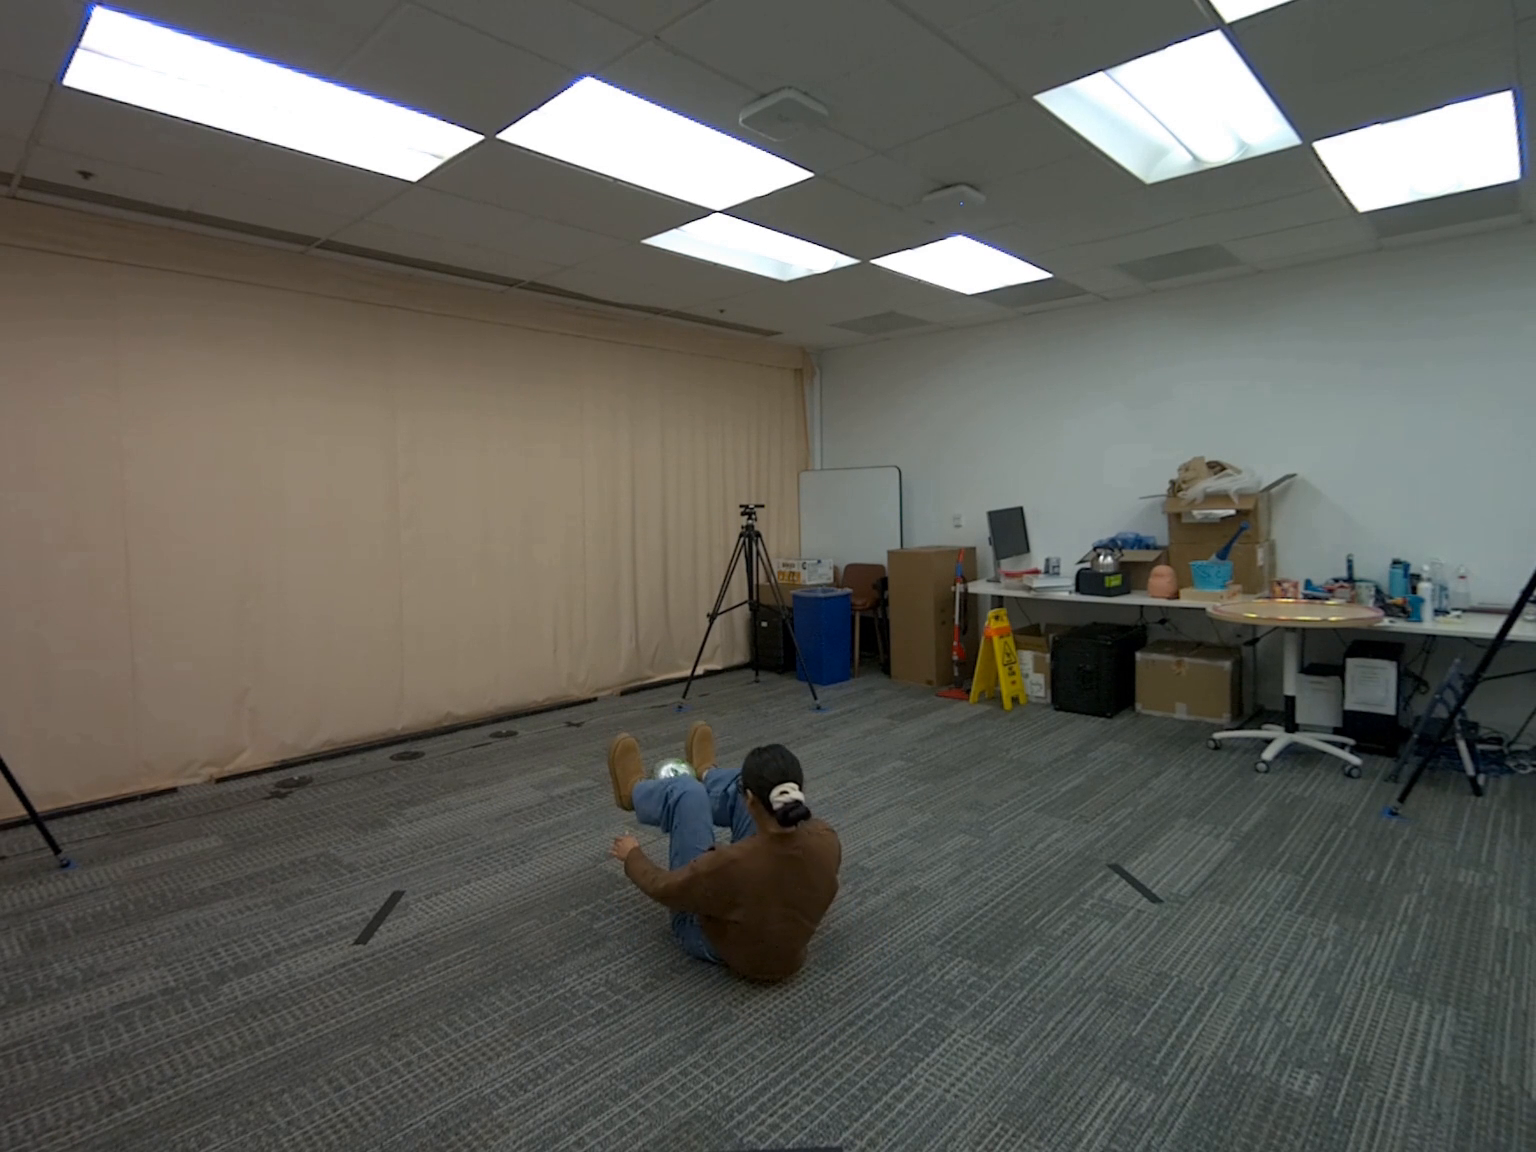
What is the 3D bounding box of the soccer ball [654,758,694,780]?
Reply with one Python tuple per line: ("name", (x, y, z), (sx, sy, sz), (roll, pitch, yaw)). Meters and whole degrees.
("soccer ball", (-0.352, 0.775, 3.077), (0.187, 0.187, 0.188), (-1, 4, -2))
